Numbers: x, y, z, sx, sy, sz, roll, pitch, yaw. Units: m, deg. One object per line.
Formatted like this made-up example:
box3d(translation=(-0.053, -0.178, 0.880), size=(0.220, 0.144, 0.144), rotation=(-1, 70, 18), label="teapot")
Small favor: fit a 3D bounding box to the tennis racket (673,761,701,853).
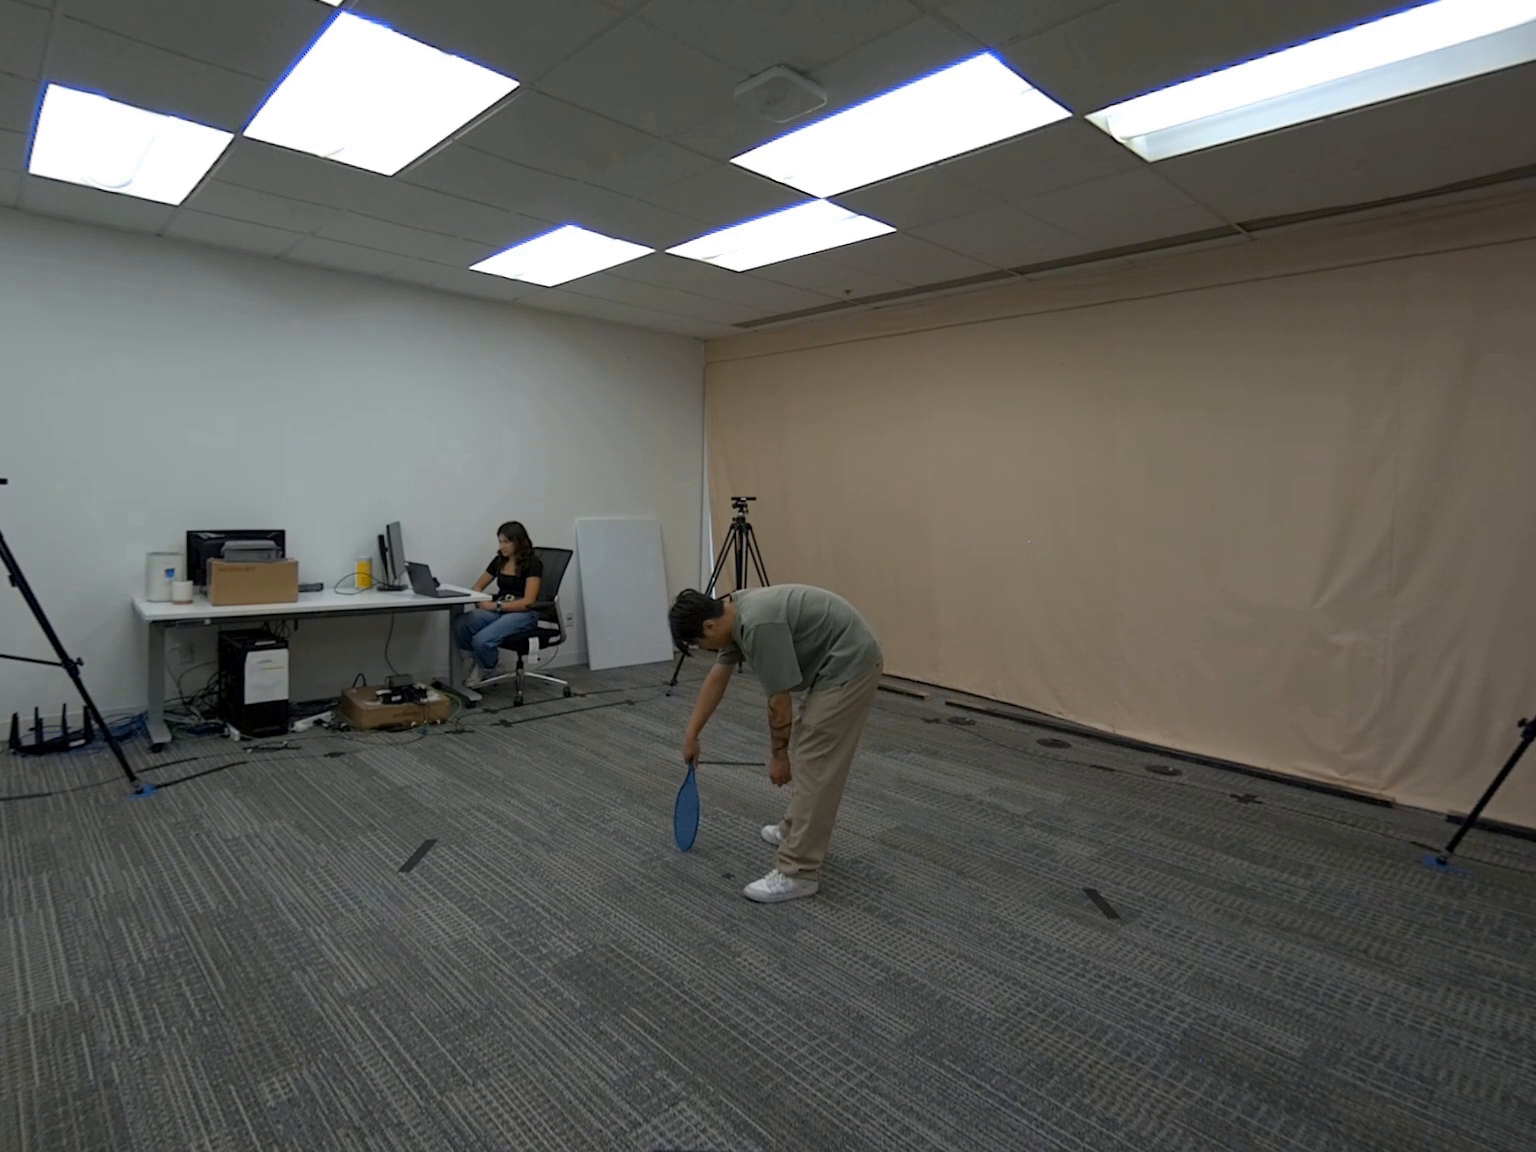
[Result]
box3d(translation=(-0.315, 0.862, 3.349), size=(0.031, 0.436, 0.217), rotation=(13, -12, -28), label="tennis racket")
